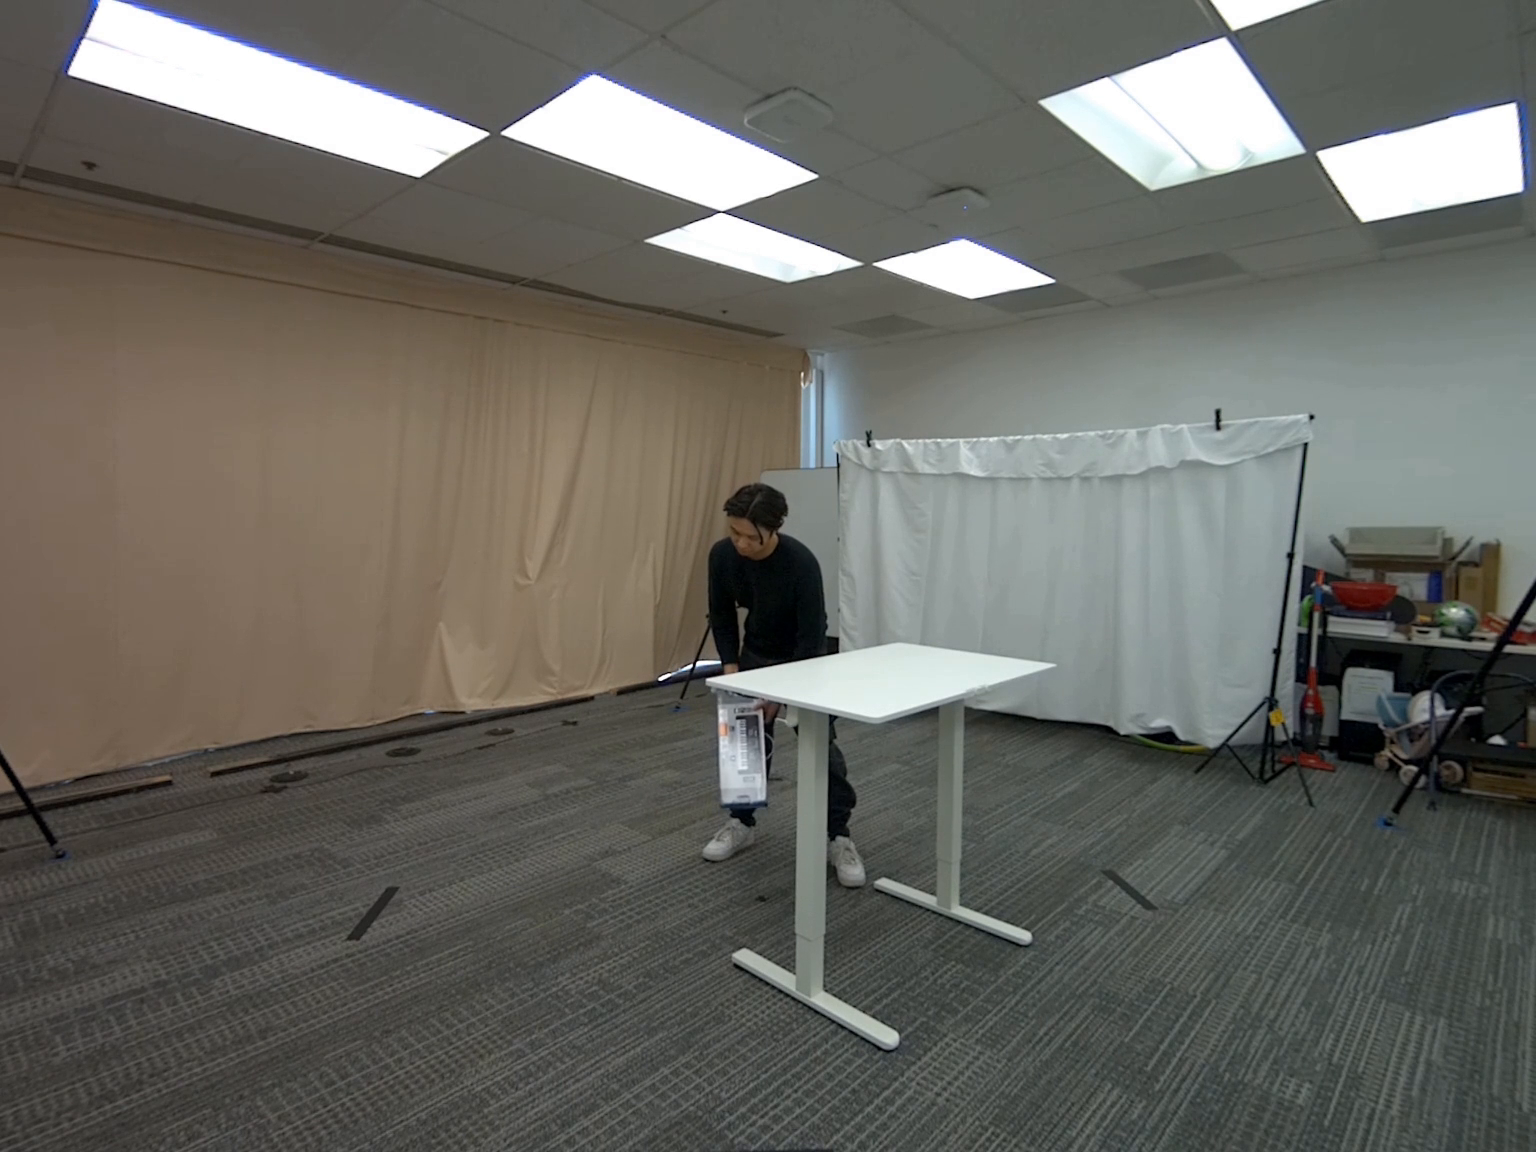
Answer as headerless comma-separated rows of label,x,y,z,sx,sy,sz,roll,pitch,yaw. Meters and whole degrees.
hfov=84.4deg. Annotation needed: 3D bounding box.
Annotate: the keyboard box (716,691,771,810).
keyboard box,-0.090,0.628,3.116,0.177,0.444,0.058,-3,-32,3
